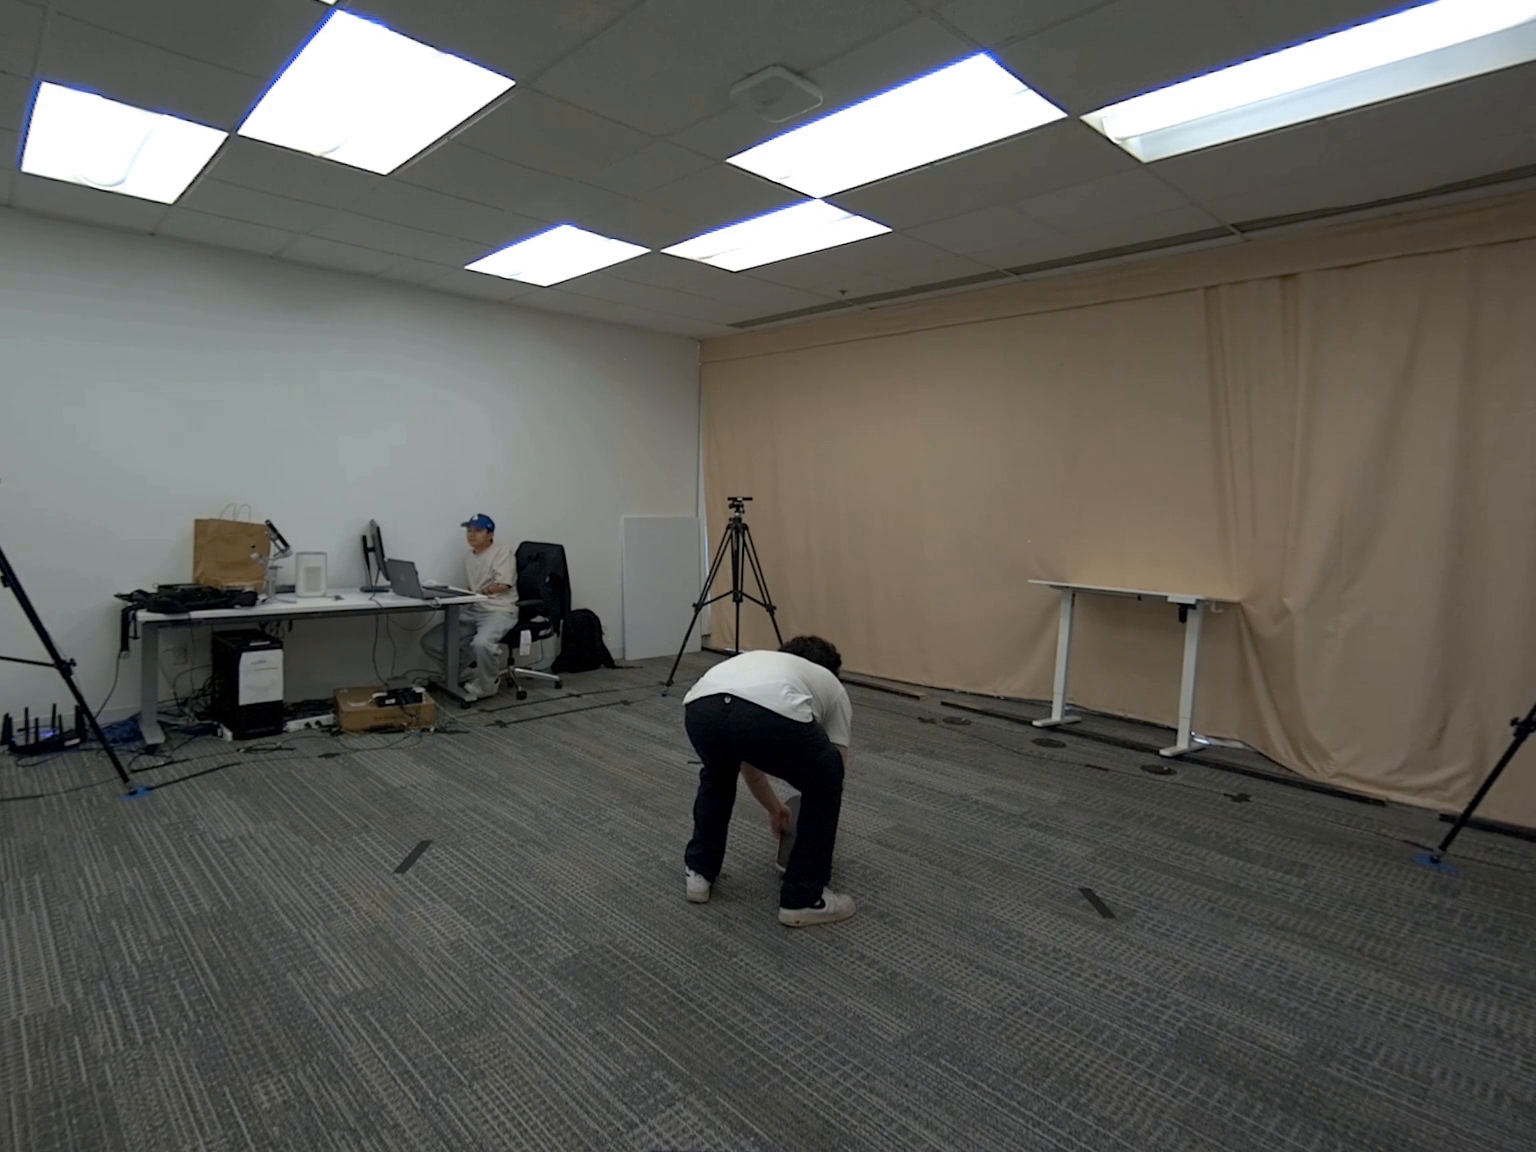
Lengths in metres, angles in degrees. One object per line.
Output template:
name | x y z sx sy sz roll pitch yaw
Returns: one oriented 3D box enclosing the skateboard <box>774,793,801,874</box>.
skateboard | 0.139 1.042 3.292 0.194 0.110 0.785 3 4 2
